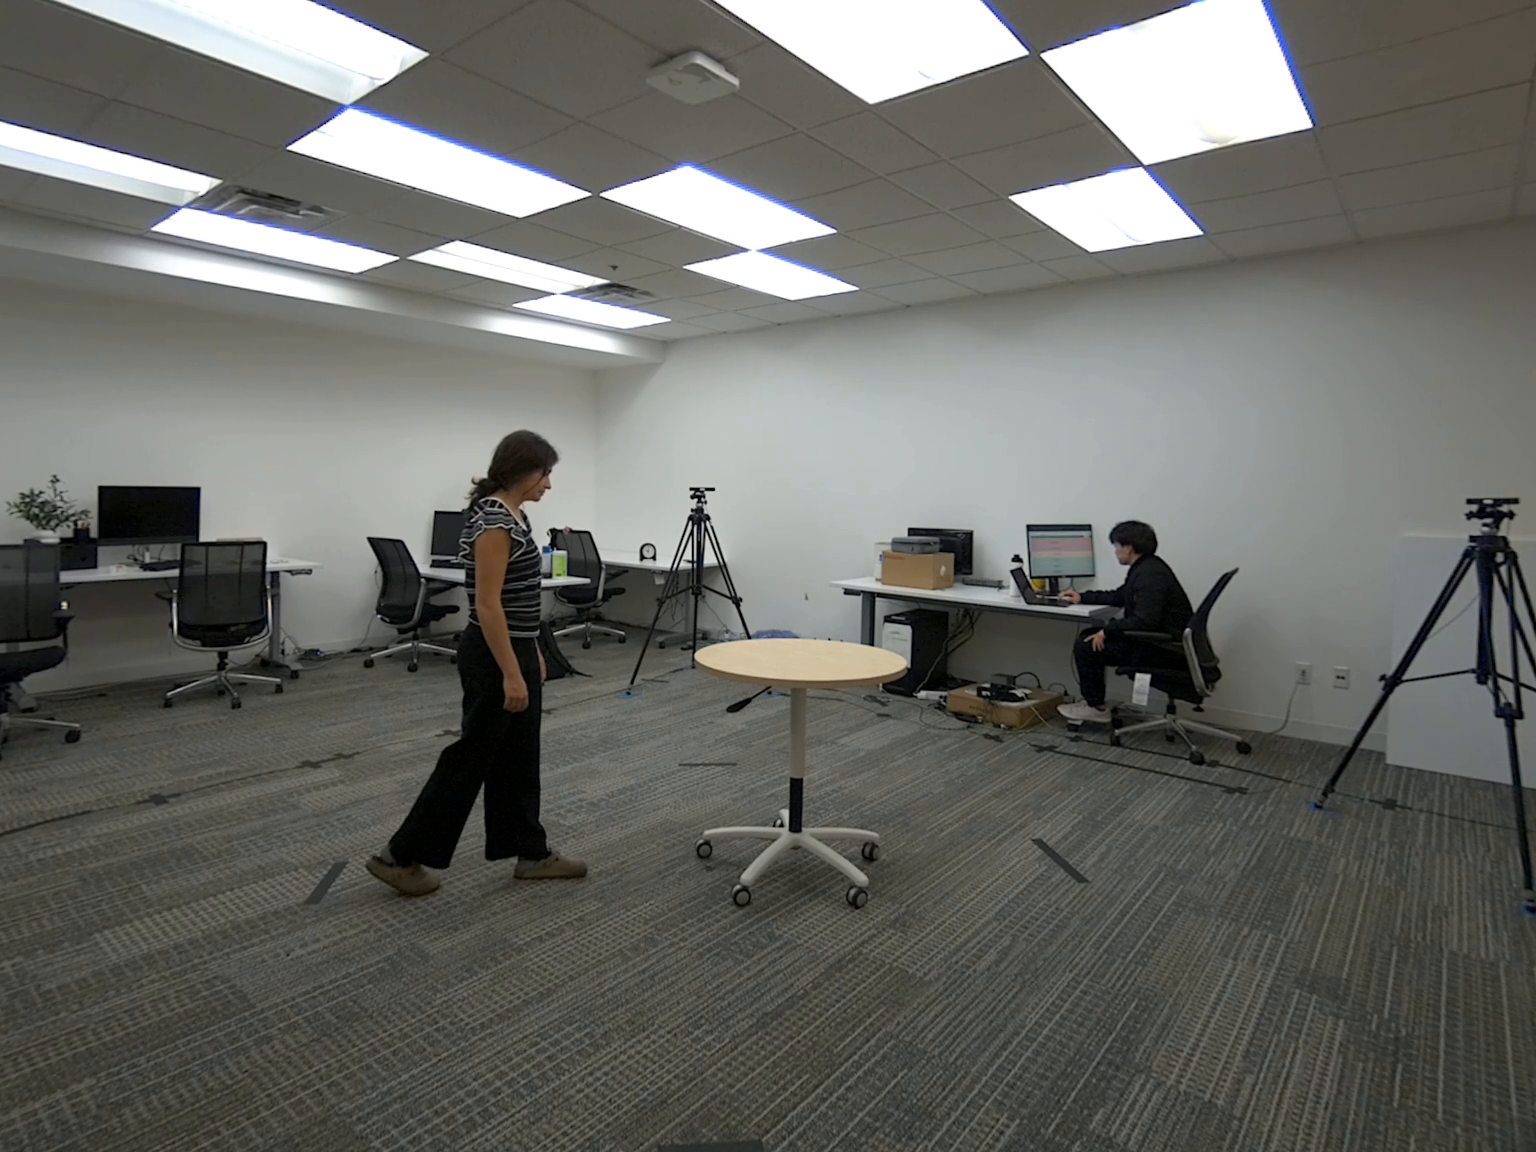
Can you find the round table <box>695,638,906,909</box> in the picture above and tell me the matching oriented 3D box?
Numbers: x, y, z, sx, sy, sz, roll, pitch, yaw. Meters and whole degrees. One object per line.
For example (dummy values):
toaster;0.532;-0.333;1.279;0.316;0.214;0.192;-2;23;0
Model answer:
round table;0.097;0.690;3.100;0.763;0.791;0.768;1;4;-2
